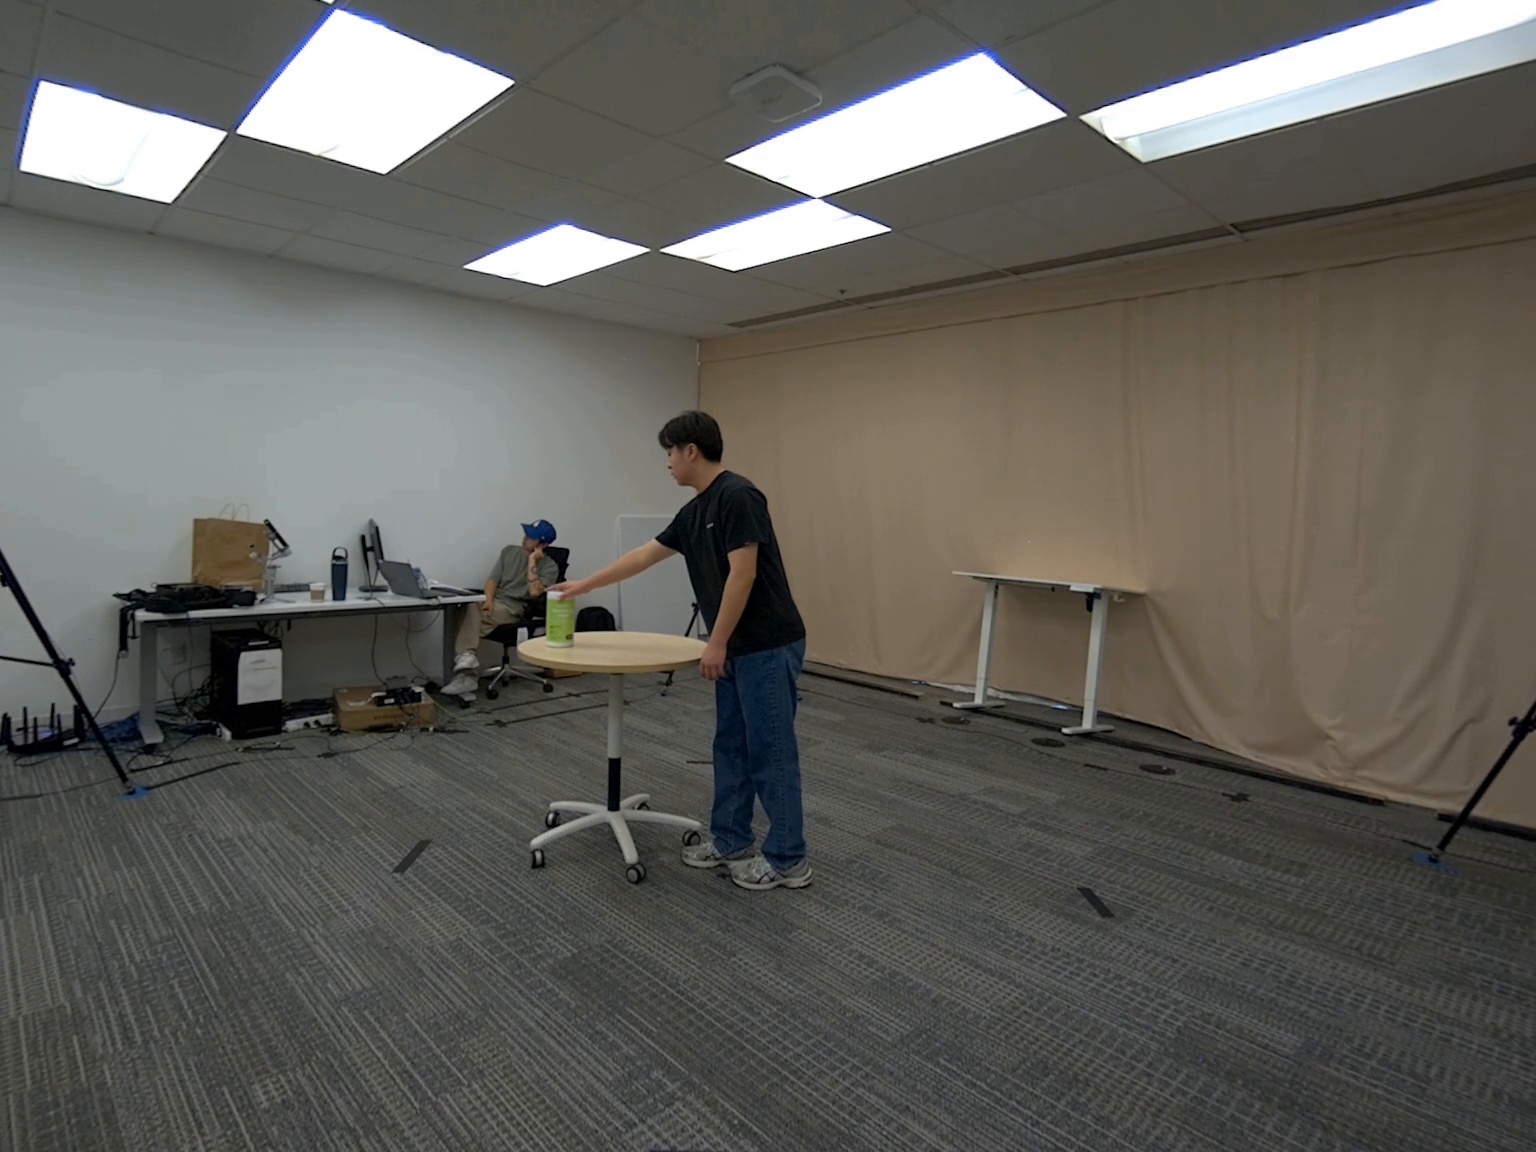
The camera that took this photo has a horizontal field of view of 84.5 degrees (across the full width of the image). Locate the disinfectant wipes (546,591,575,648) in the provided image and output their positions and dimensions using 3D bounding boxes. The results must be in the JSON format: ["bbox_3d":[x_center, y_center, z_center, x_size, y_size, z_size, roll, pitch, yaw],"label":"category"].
[{"bbox_3d":[-0.820,0.169,3.314,0.118,0.217,0.118,2,3,-2],"label":"disinfectant wipes"}]
